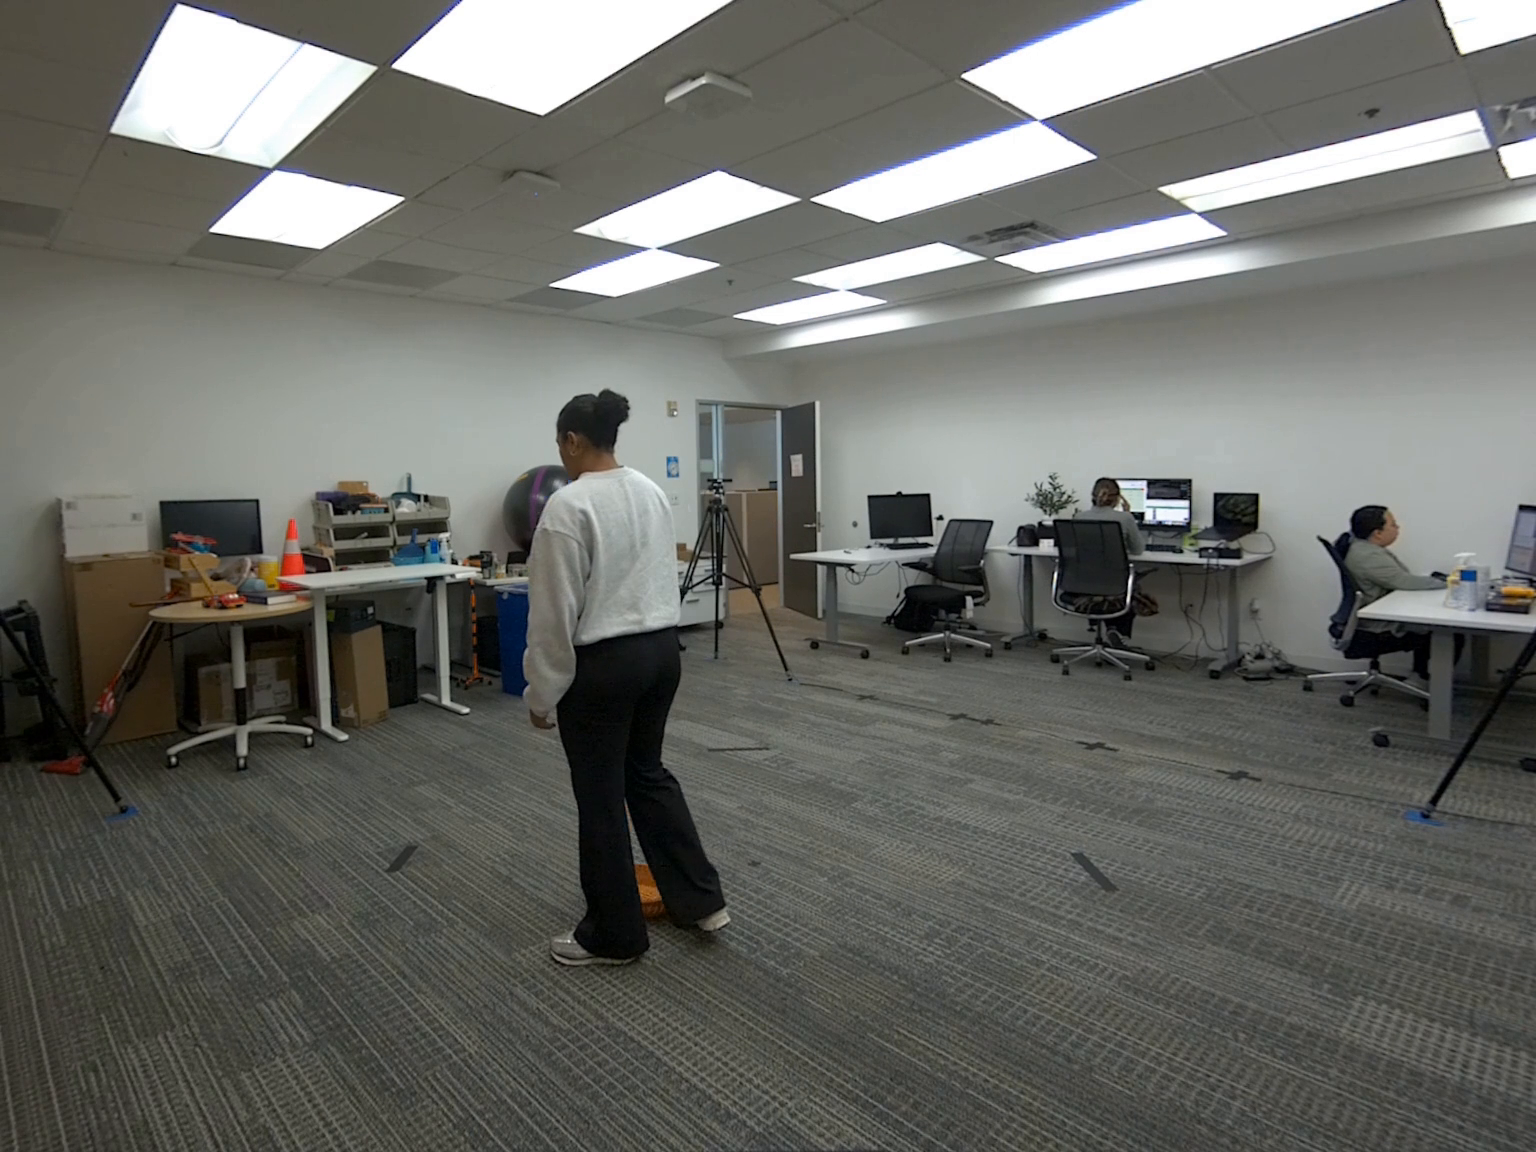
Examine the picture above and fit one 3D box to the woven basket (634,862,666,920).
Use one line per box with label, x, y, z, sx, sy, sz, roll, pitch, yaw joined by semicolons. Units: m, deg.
woven basket;-0.454;1.044;2.852;0.357;0.073;0.248;1;7;22
